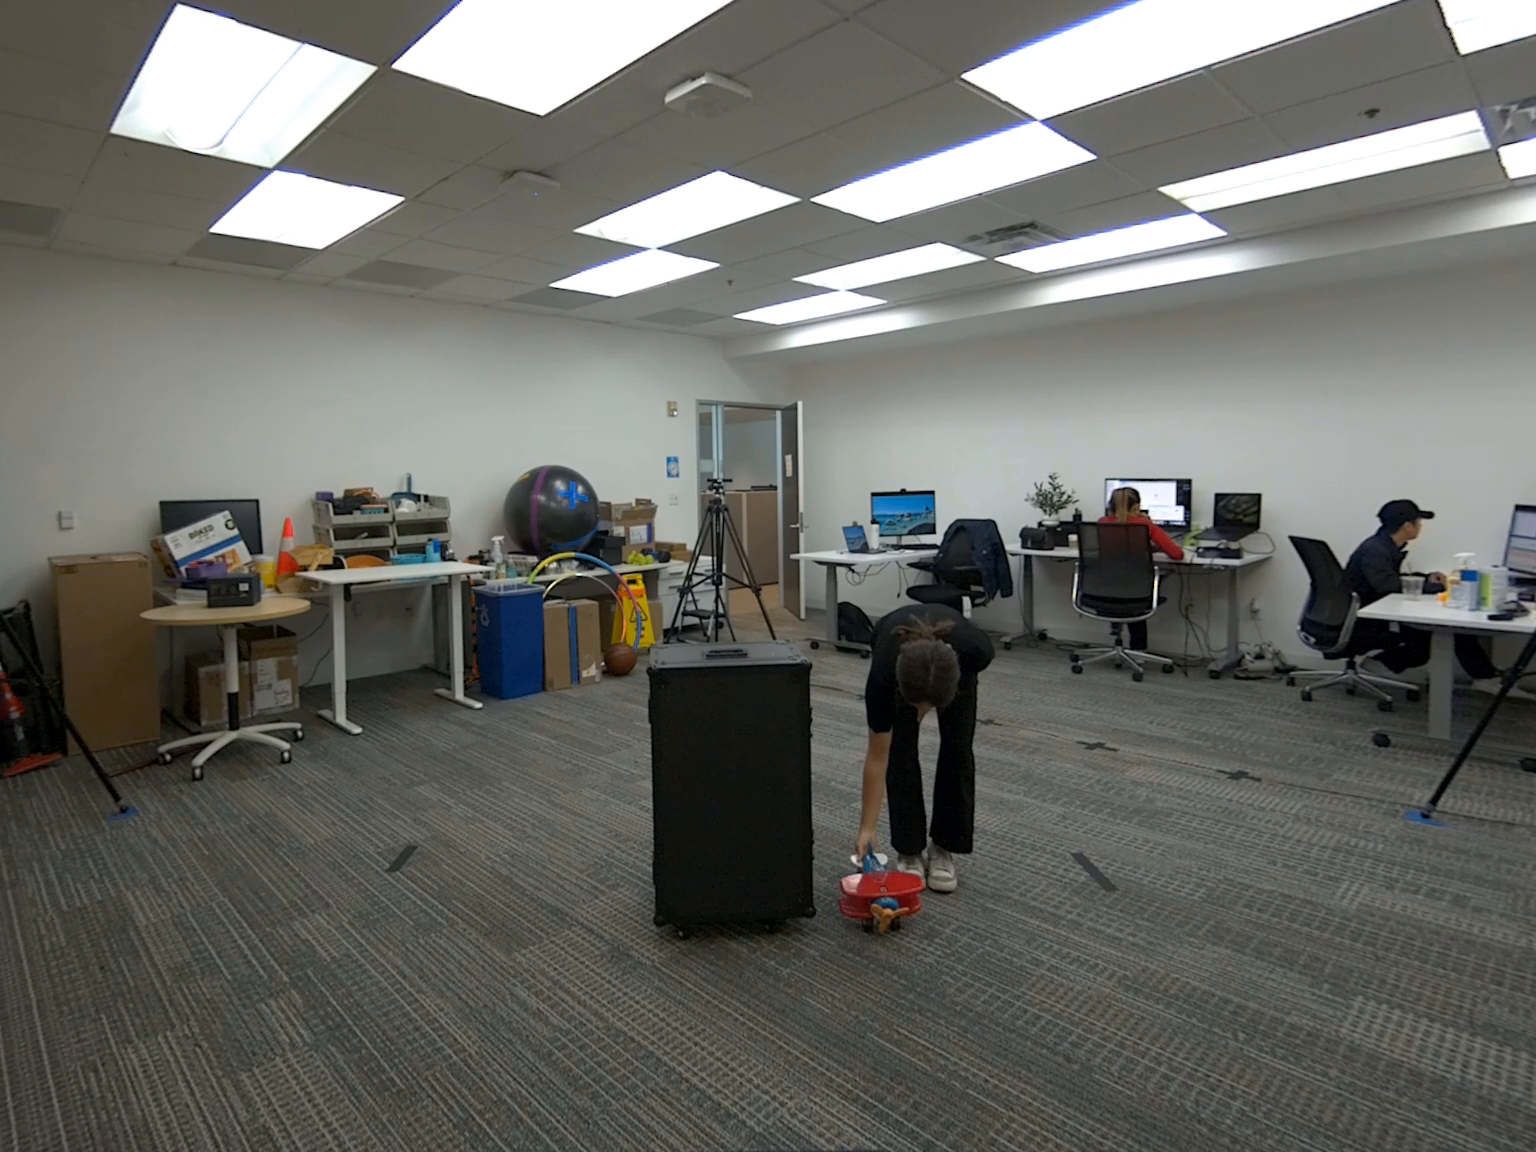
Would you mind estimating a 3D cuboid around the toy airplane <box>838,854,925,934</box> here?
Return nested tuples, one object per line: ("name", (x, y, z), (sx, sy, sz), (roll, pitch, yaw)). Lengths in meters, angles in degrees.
("toy airplane", (0.325, 0.976, 2.666), (0.247, 0.152, 0.269), (-21, 45, -27))
